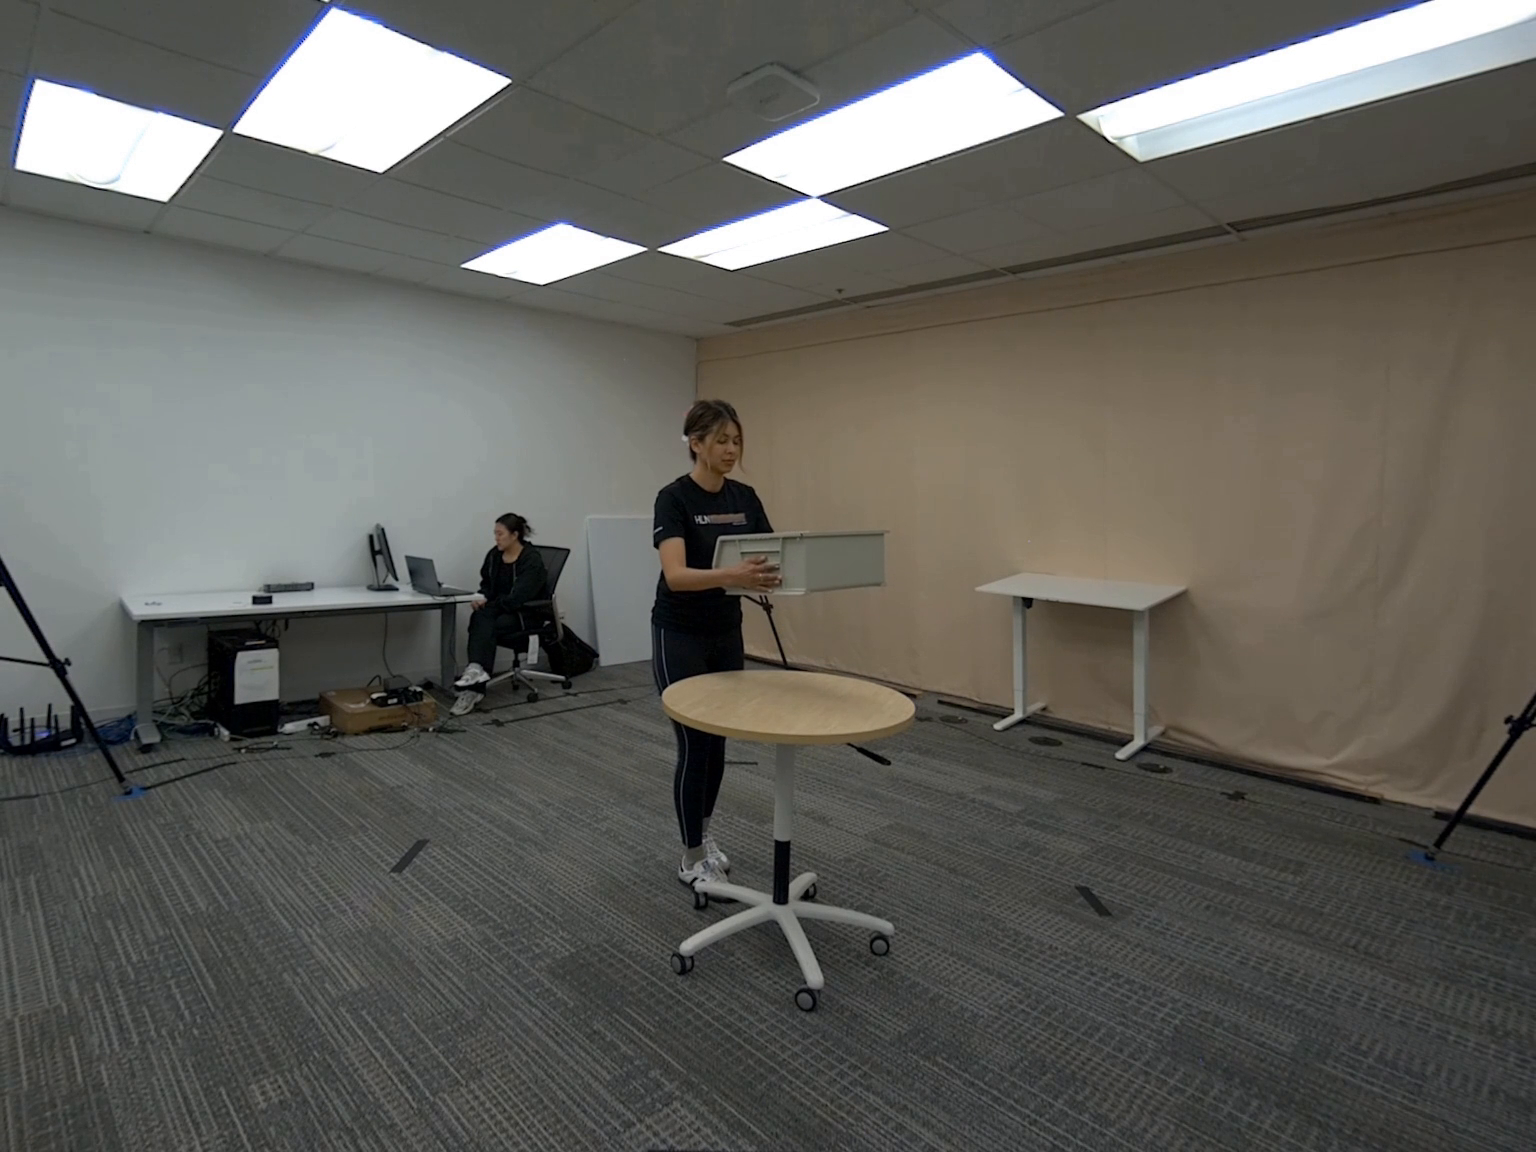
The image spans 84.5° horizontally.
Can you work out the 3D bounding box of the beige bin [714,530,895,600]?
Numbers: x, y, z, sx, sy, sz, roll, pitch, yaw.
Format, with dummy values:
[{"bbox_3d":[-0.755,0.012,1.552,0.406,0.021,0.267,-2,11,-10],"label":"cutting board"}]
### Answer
[{"bbox_3d":[0.110,-0.041,2.619,0.386,0.189,0.412,1,2,43],"label":"beige bin"}]
